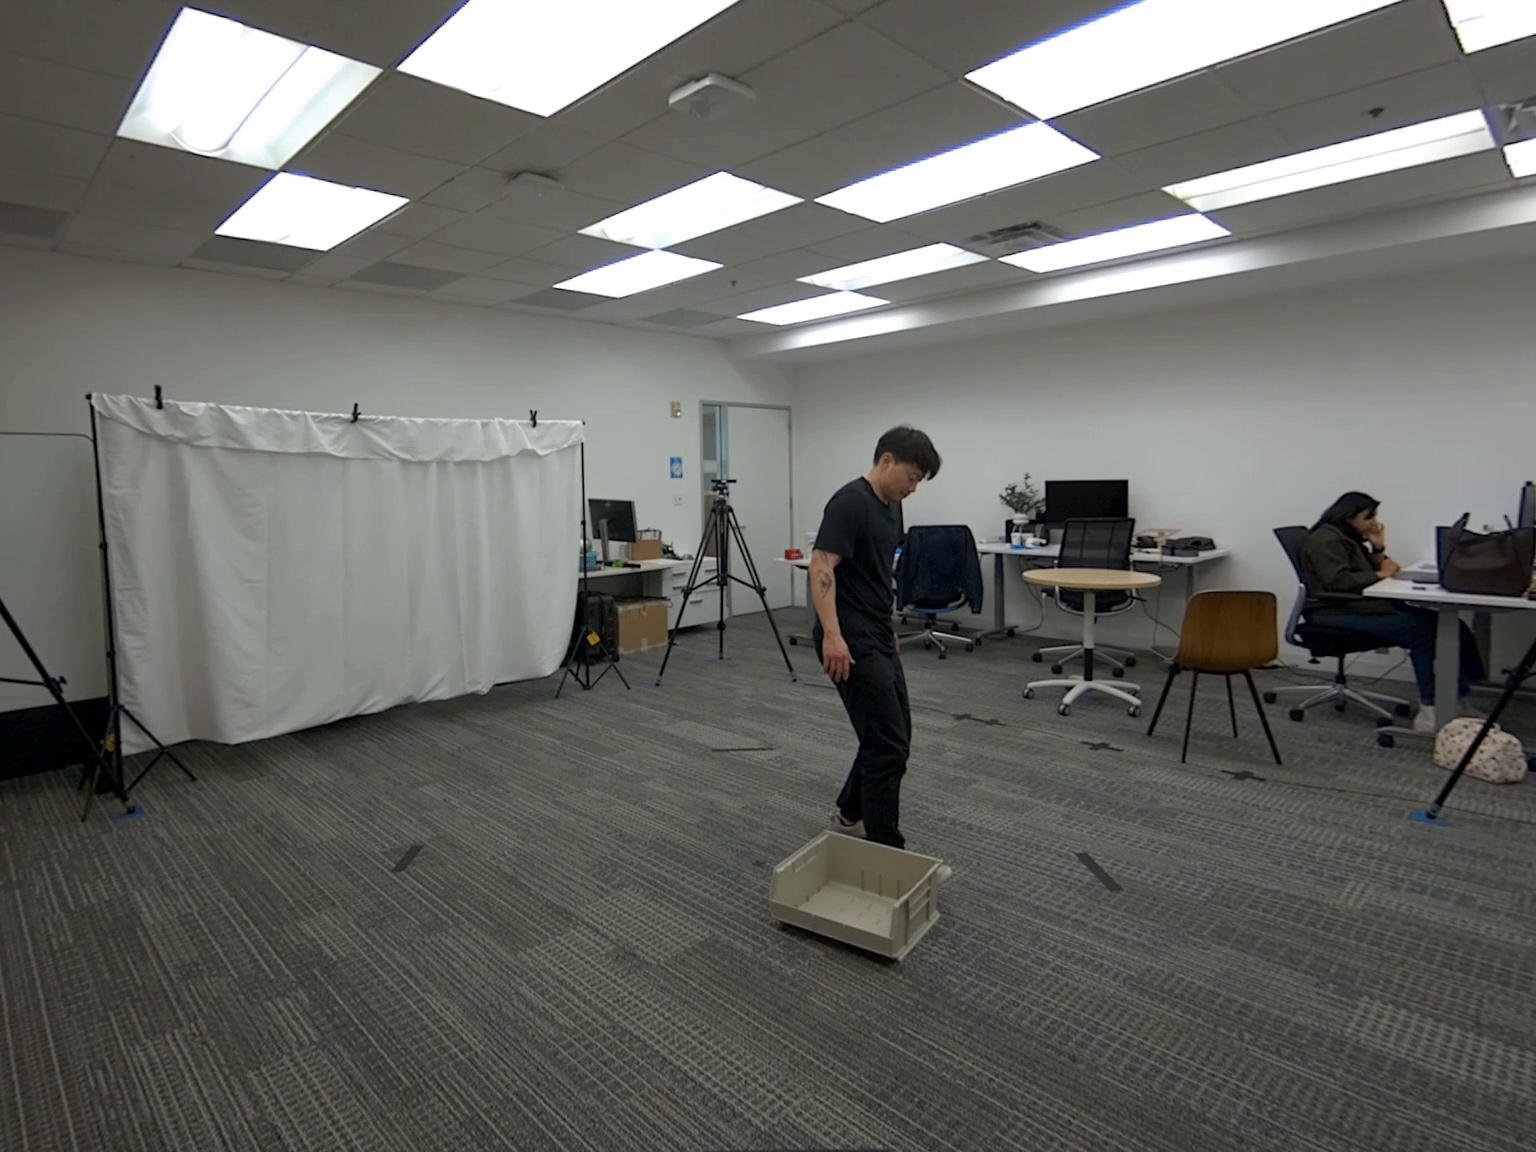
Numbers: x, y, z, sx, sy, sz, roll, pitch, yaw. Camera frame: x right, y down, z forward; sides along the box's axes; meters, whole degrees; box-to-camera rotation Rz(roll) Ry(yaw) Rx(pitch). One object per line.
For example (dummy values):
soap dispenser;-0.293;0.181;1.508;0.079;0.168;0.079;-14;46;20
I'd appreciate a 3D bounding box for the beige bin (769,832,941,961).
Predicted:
beige bin;0.284;1.002;2.684;0.434;0.188;0.368;2;6;34
